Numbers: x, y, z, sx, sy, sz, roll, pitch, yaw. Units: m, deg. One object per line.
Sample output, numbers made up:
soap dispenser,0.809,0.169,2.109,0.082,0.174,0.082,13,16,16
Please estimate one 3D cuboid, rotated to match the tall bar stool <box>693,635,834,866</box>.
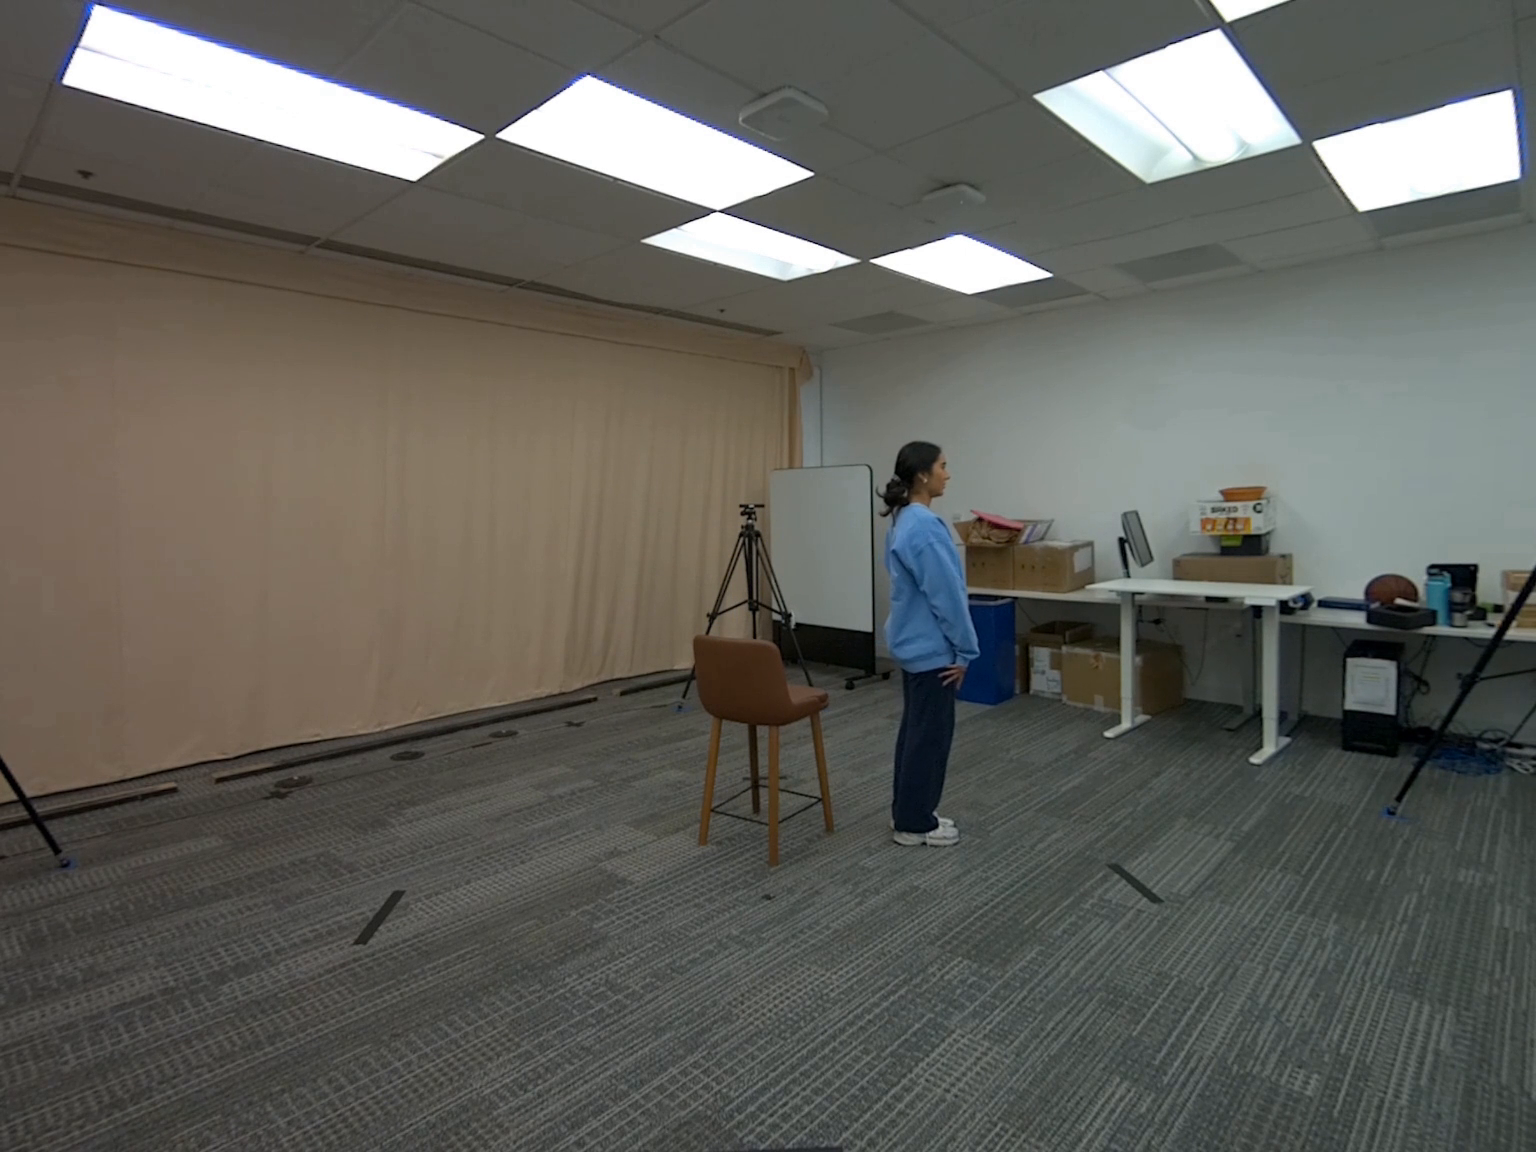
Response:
tall bar stool,-0.018,0.663,3.510,0.470,0.887,0.455,0,5,35
